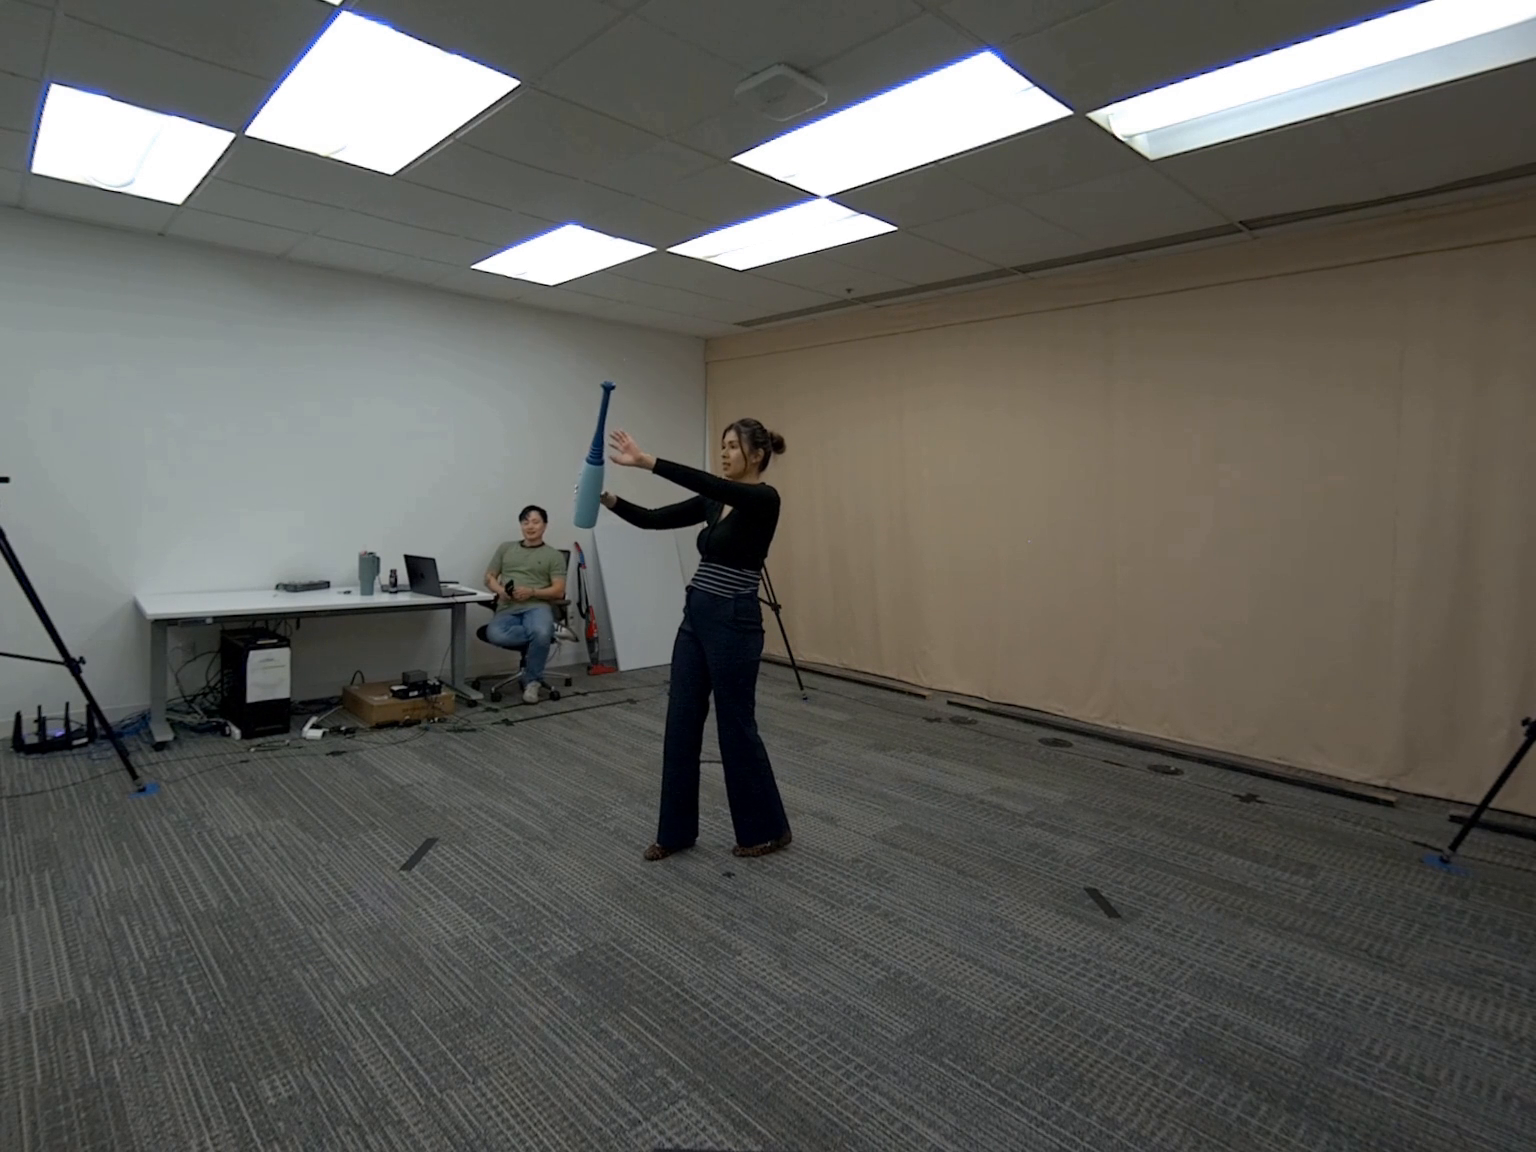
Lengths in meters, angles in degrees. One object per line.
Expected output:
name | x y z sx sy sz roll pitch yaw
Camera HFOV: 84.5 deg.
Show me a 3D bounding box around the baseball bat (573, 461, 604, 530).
baseball bat | -0.603 -0.418 2.946 0.088 0.537 0.090 12 24 -7
